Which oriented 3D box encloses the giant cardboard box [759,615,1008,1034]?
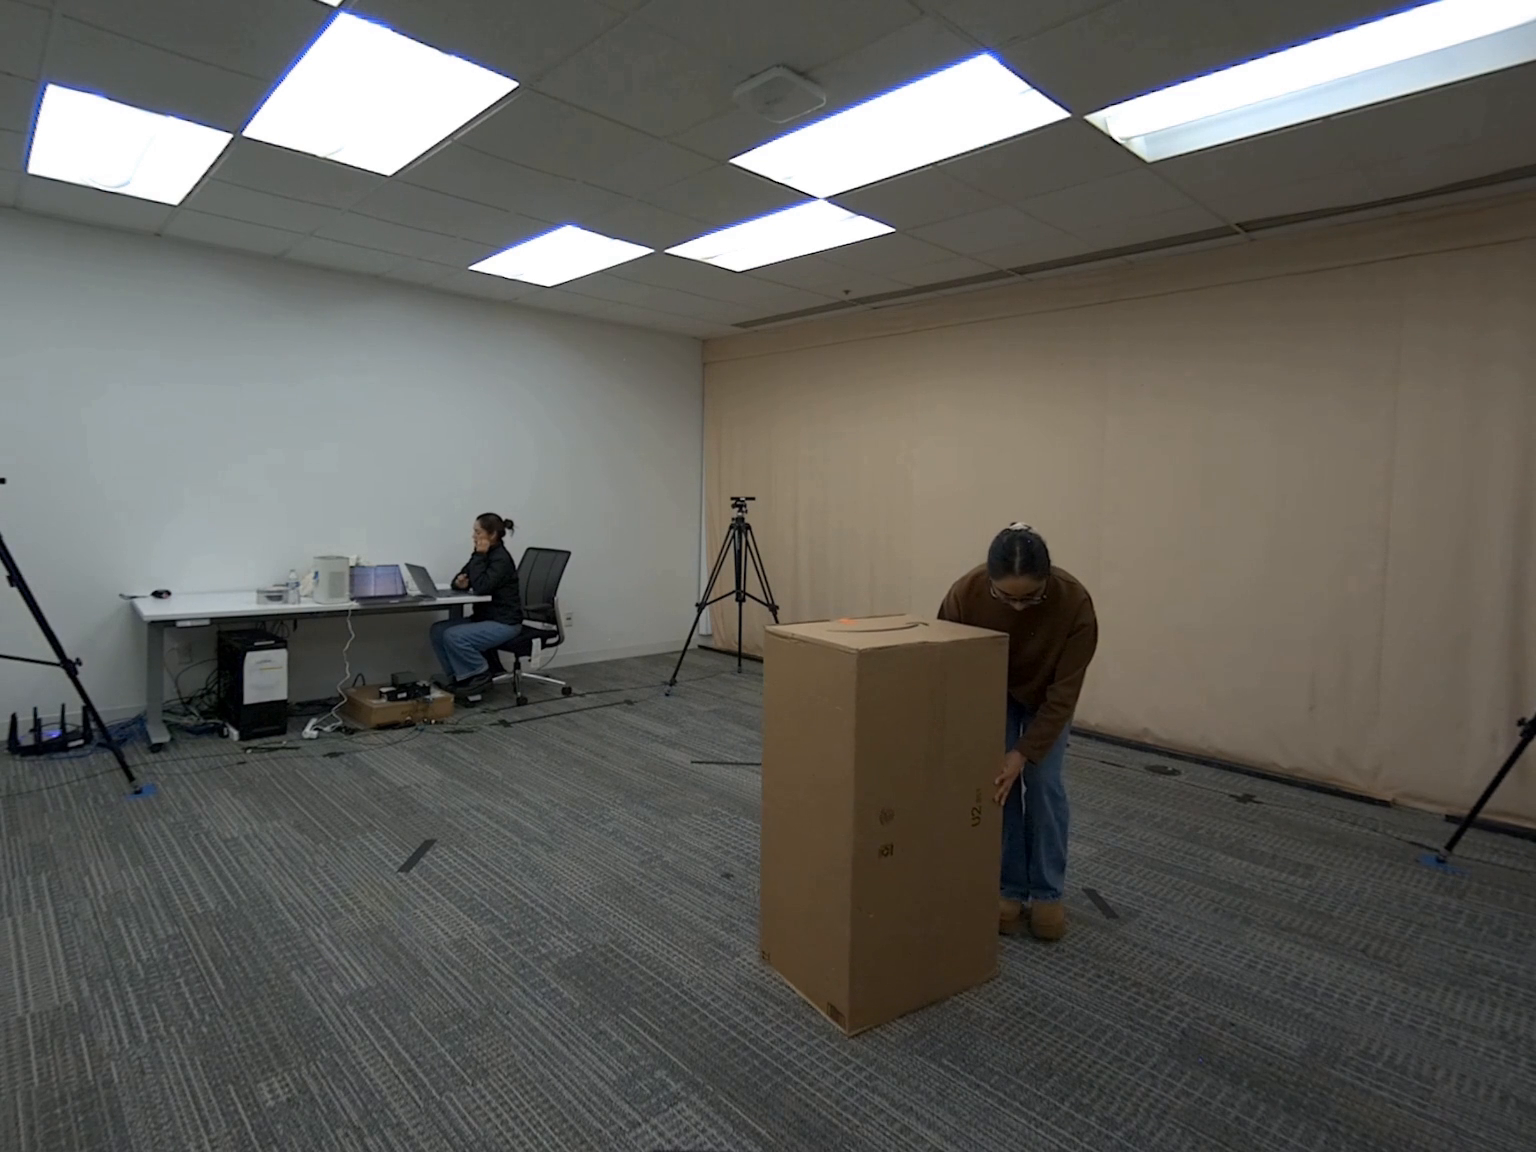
[{"bbox_3d":[0.330,0.670,2.478,0.565,1.023,0.436,-2,5,-34],"label":"giant cardboard box"}]
